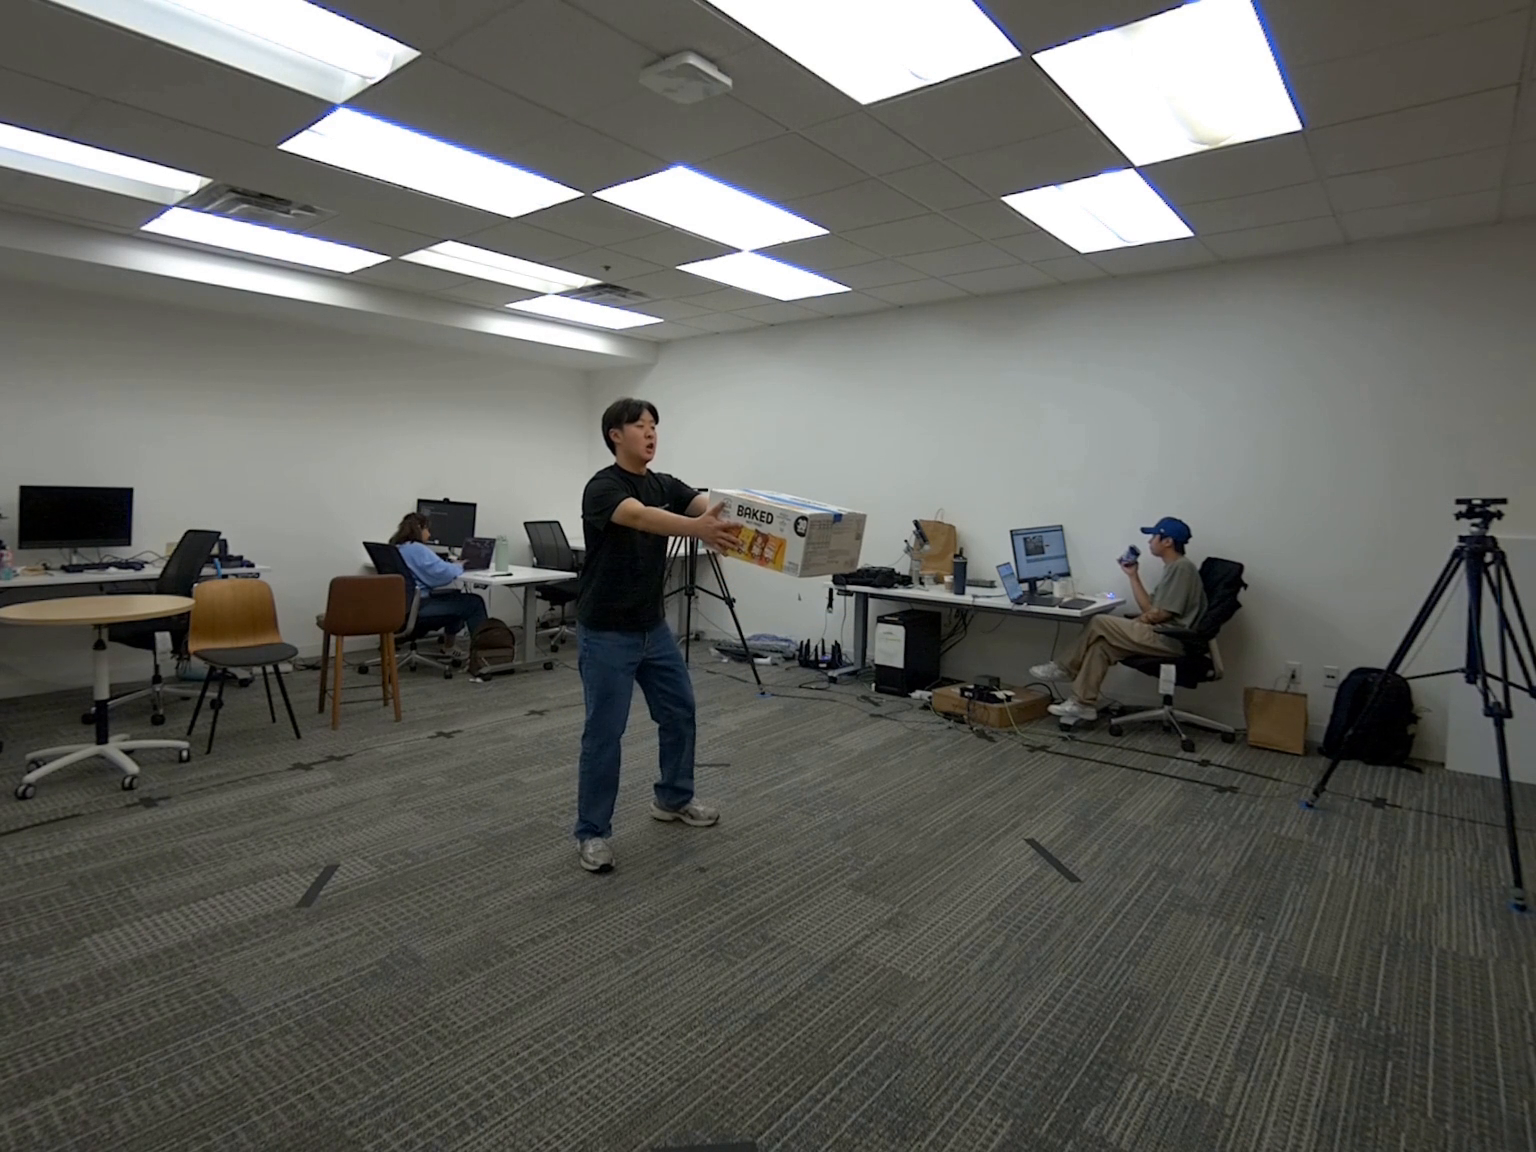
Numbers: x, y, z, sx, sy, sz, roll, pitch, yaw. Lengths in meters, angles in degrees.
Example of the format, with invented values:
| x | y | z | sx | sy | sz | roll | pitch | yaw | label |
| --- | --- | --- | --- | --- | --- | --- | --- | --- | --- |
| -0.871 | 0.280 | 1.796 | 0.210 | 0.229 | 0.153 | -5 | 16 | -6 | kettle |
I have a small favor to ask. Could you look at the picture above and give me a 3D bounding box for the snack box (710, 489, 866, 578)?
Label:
| x | y | z | sx | sy | sz | roll | pitch | yaw | label |
| --- | --- | --- | --- | --- | --- | --- | --- | --- | --- |
| 0.047 | -0.150 | 2.833 | 0.420 | 0.204 | 0.330 | 18 | 14 | 36 | snack box |
